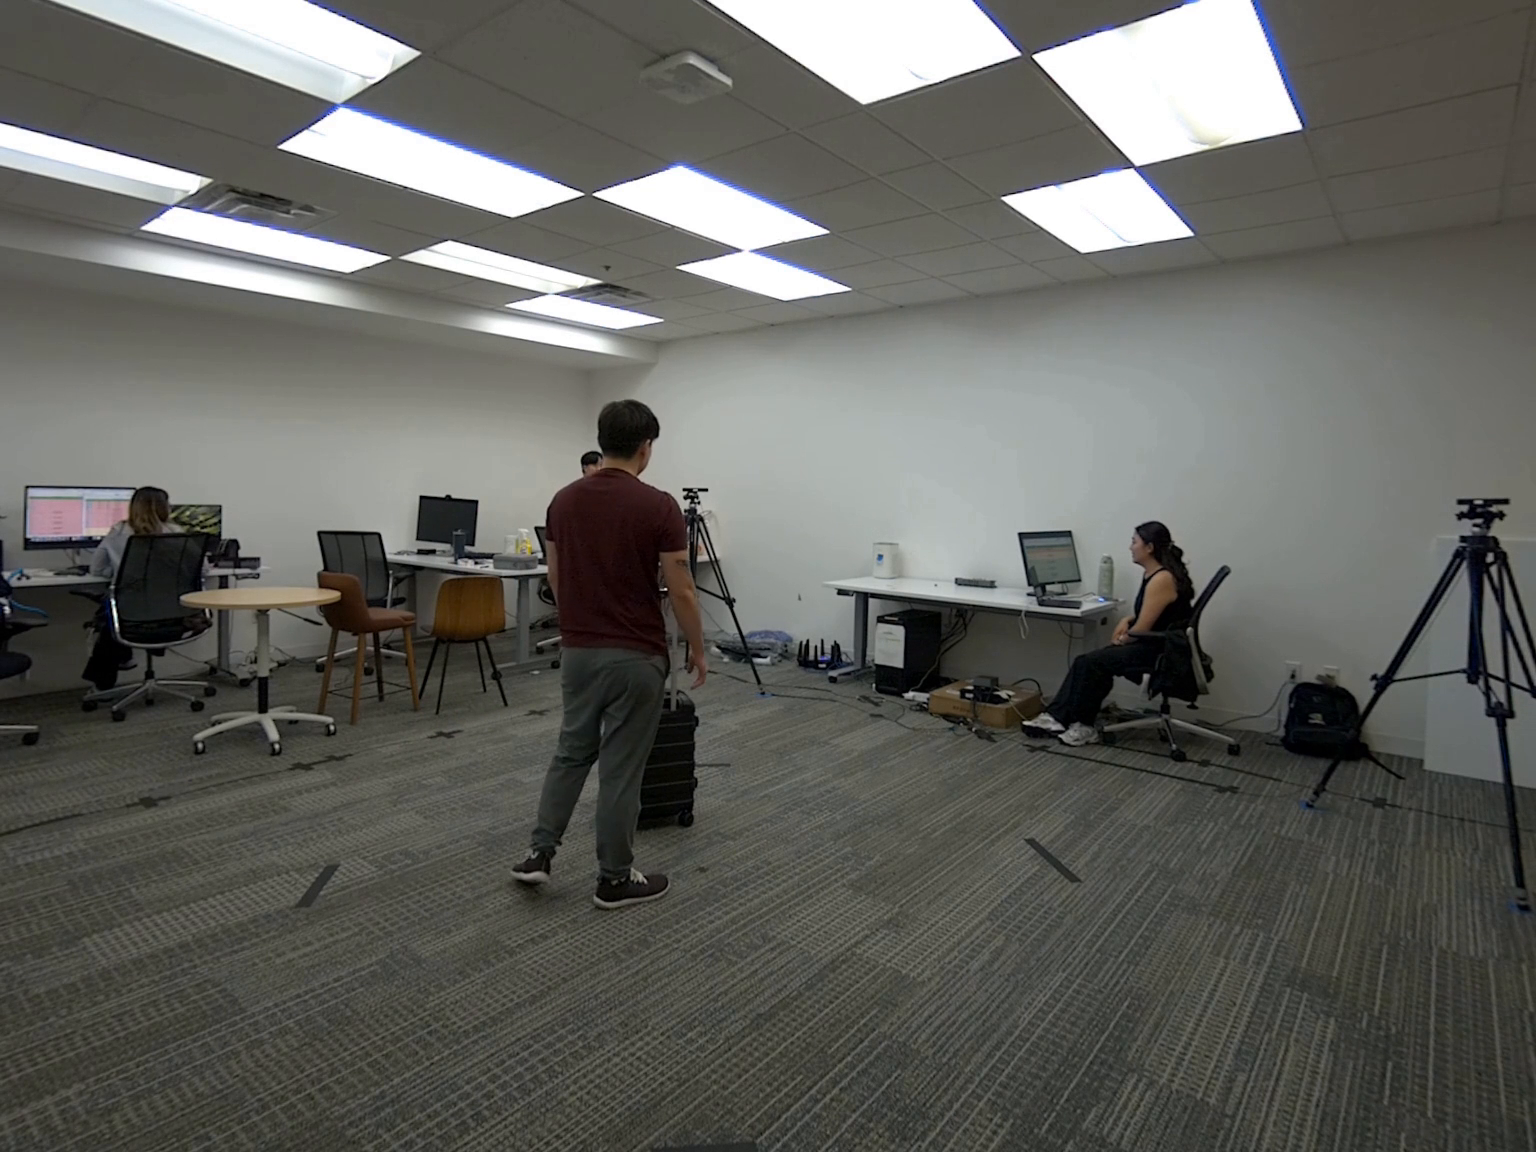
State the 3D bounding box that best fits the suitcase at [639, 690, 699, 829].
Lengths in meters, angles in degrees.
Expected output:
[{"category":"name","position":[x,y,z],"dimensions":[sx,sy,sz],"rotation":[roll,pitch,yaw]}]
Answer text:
[{"category":"suitcase","position":[-0.510,0.547,3.558],"dimensions":[0.376,0.978,0.262],"rotation":[0,0,-21]}]
